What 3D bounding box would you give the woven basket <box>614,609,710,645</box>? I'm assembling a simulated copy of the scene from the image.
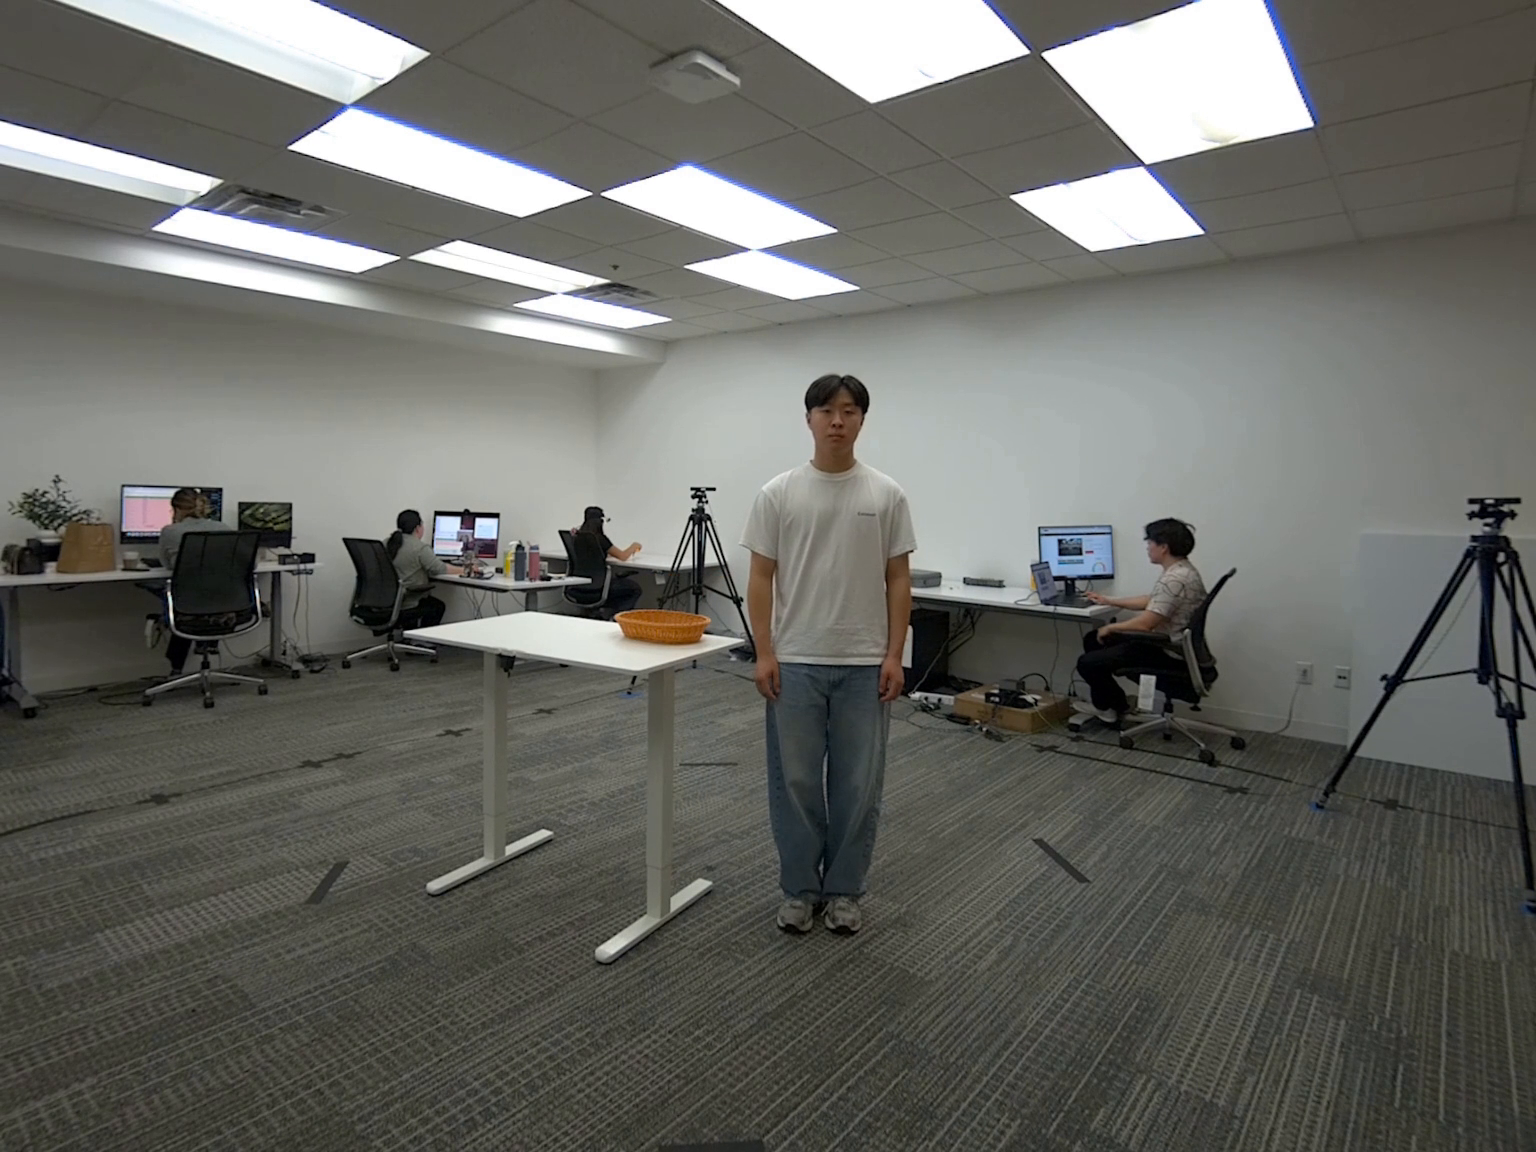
[{"bbox_3d":[-0.374,0.177,2.863,0.362,0.073,0.245,7,9,37],"label":"woven basket"}]
